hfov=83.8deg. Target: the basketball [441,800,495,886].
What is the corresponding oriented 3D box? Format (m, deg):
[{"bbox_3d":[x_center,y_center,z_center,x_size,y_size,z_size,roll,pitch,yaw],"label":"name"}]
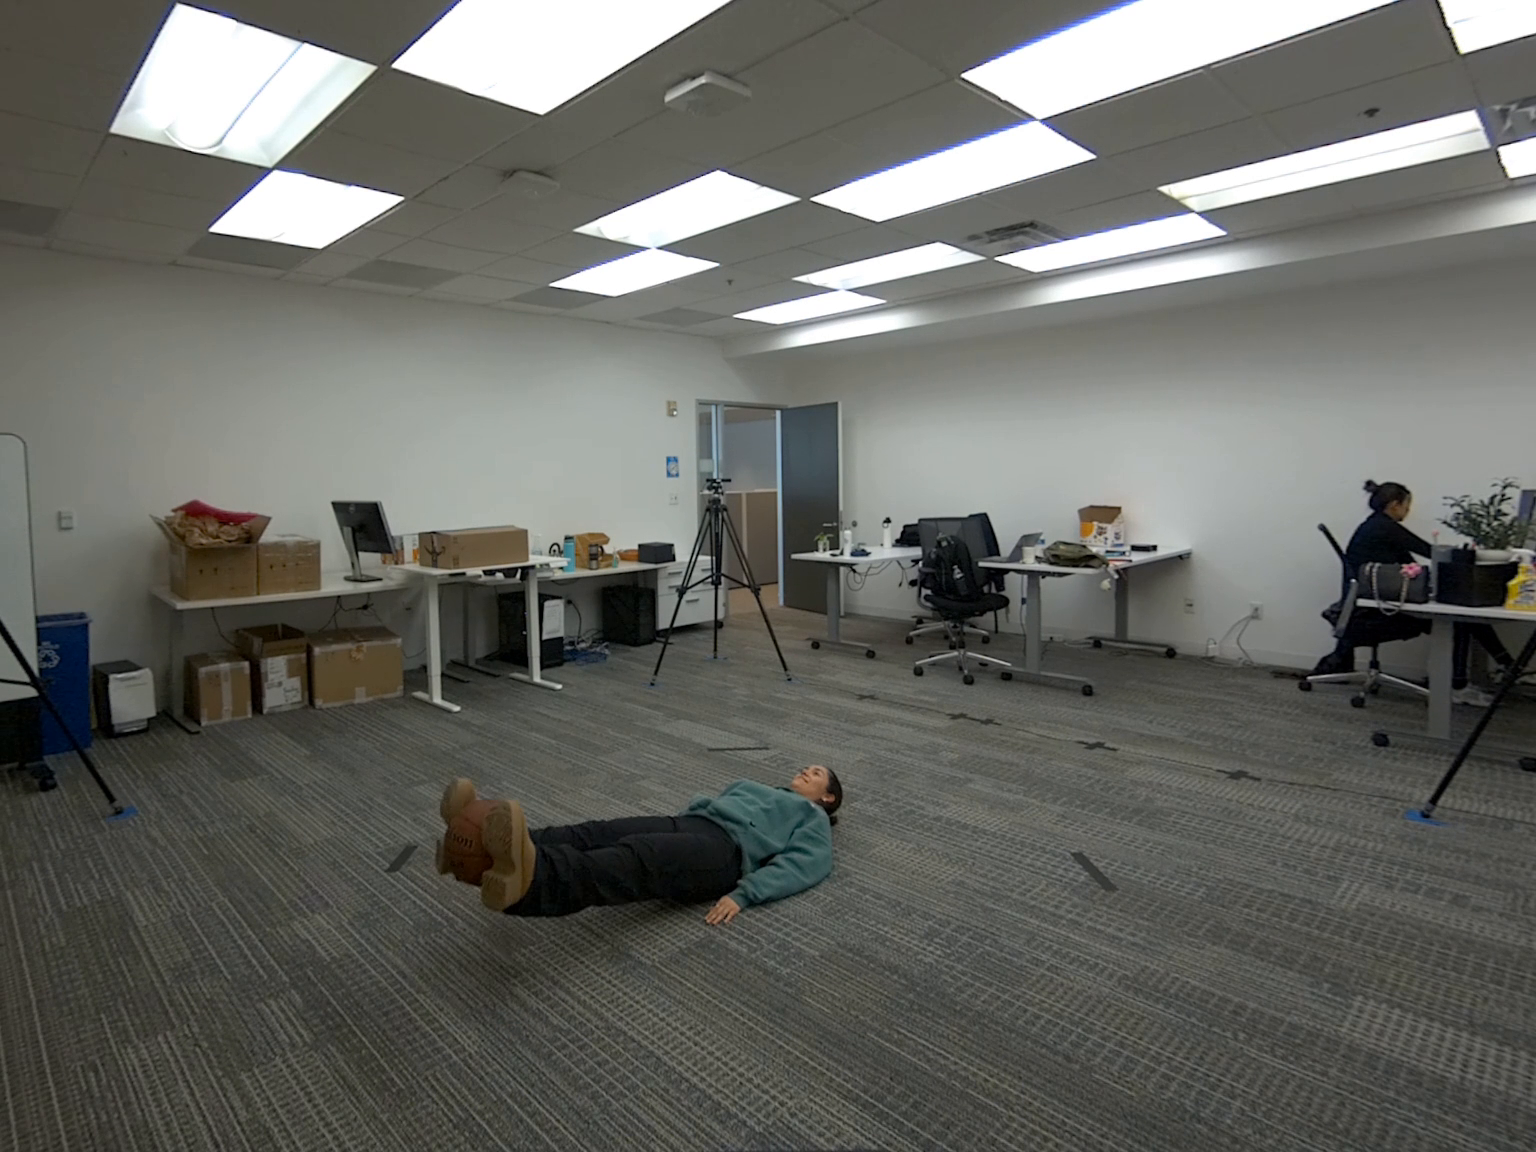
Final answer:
[{"bbox_3d":[-0.792,0.755,2.430,0.236,0.235,0.237,-1,4,-2],"label":"basketball"}]
